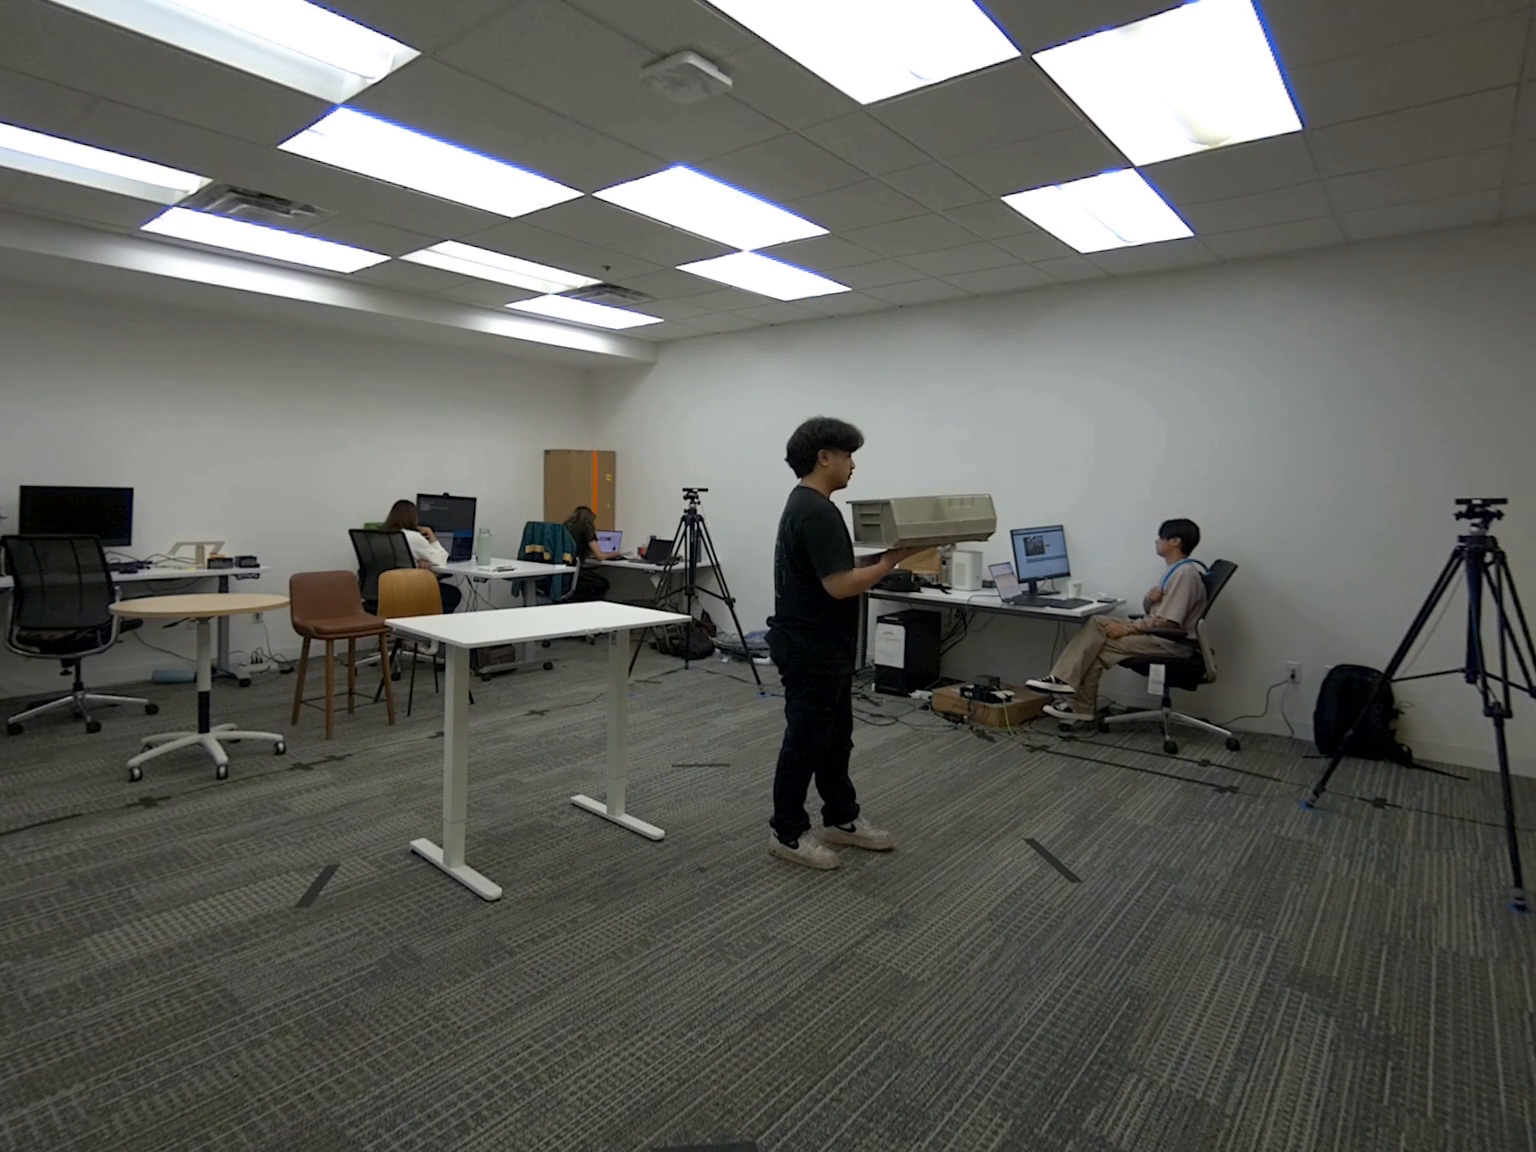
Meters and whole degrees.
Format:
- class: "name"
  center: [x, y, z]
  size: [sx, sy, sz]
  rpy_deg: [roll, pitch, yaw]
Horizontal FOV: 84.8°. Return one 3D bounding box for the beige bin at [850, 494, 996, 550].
- class: "beige bin"
  center: [0.576, -0.210, 3.222]
  size: [0.414, 0.188, 0.386]
  rpy_deg: [-6, 5, -20]
